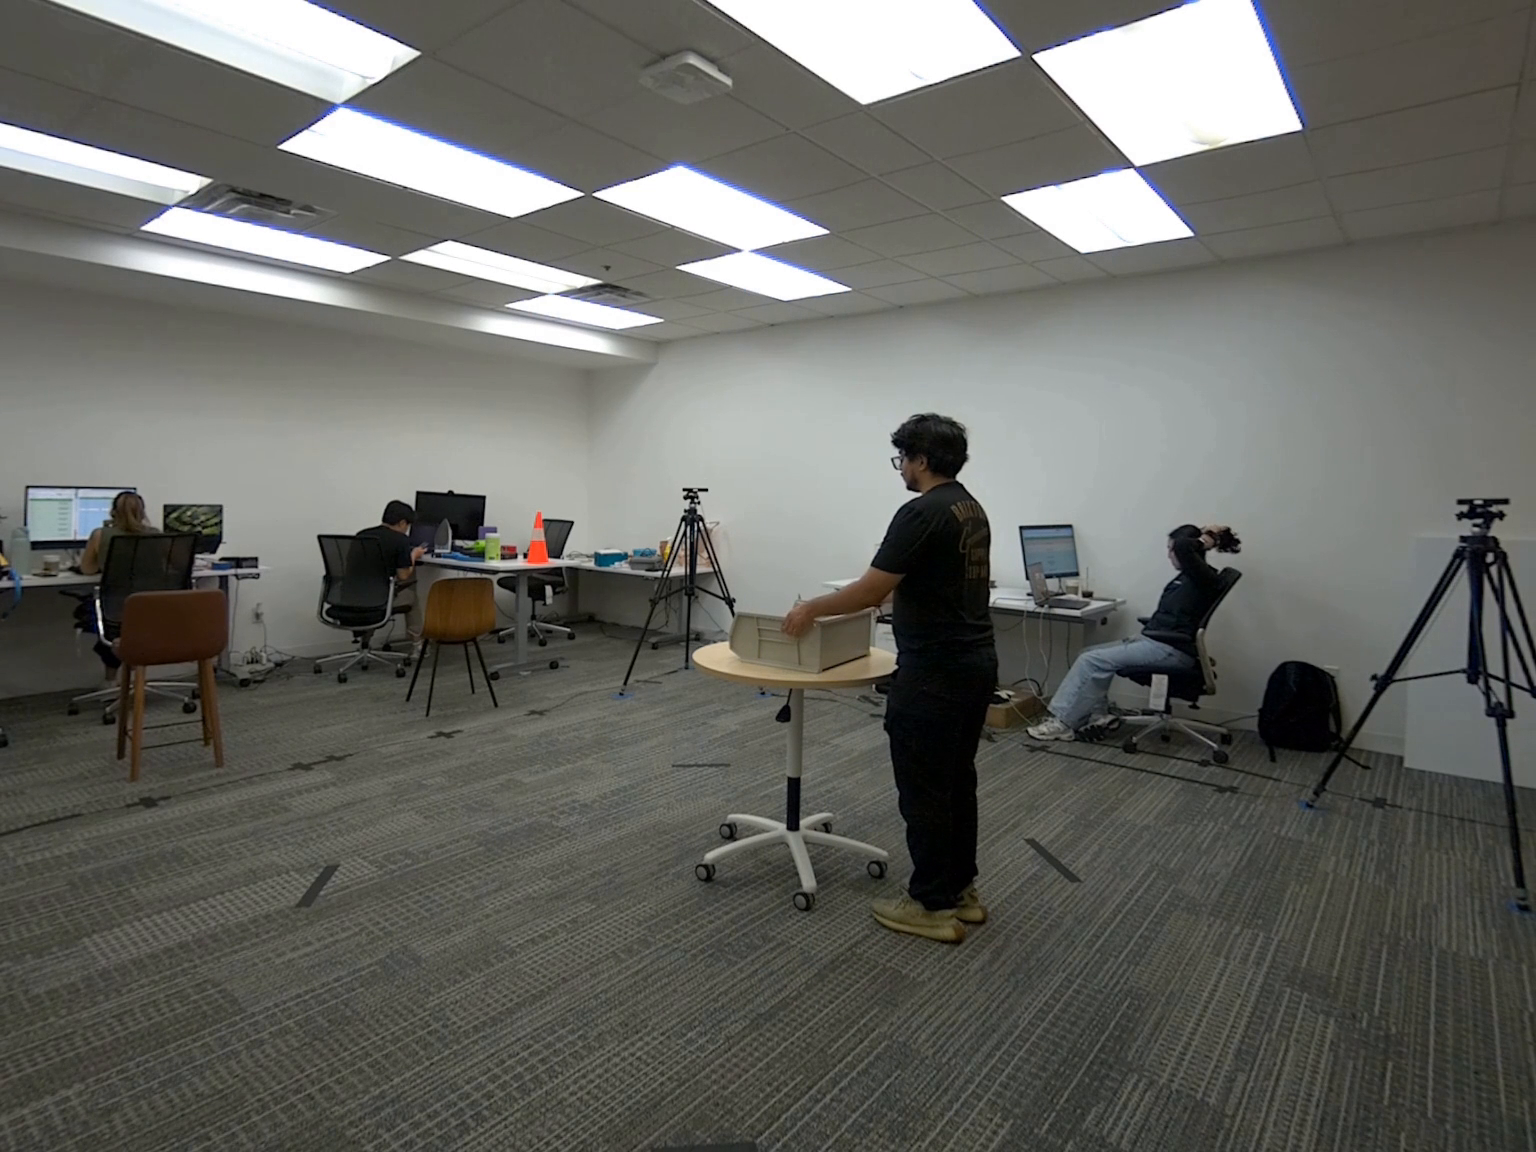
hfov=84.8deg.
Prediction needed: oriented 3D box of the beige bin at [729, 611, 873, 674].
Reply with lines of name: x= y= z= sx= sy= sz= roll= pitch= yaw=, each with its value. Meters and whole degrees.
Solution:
beige bin: x=0.115 y=0.205 z=3.104 sx=0.389 sy=0.188 sz=0.411 roll=6 pitch=7 yaw=33
